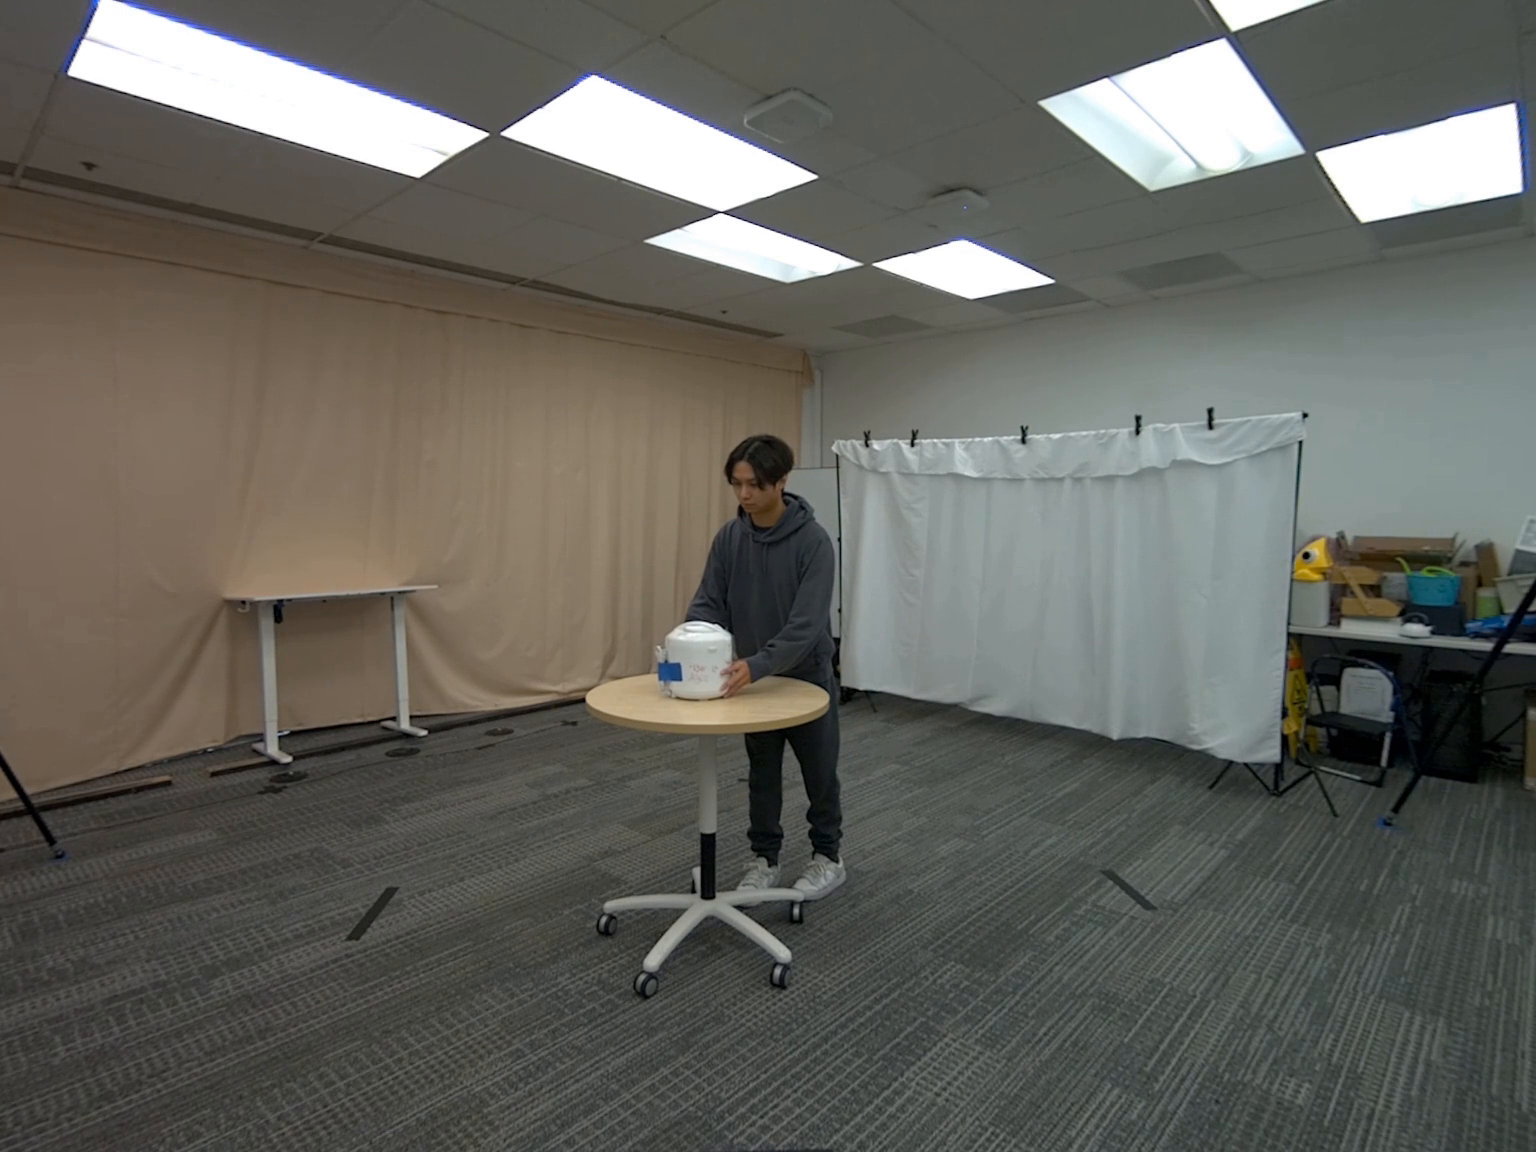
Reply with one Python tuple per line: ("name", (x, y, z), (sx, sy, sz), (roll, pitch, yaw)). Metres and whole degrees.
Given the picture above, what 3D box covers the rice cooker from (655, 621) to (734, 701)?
("rice cooker", (-0.214, 0.259, 2.662), (0.226, 0.232, 0.212), (2, 4, 25))
